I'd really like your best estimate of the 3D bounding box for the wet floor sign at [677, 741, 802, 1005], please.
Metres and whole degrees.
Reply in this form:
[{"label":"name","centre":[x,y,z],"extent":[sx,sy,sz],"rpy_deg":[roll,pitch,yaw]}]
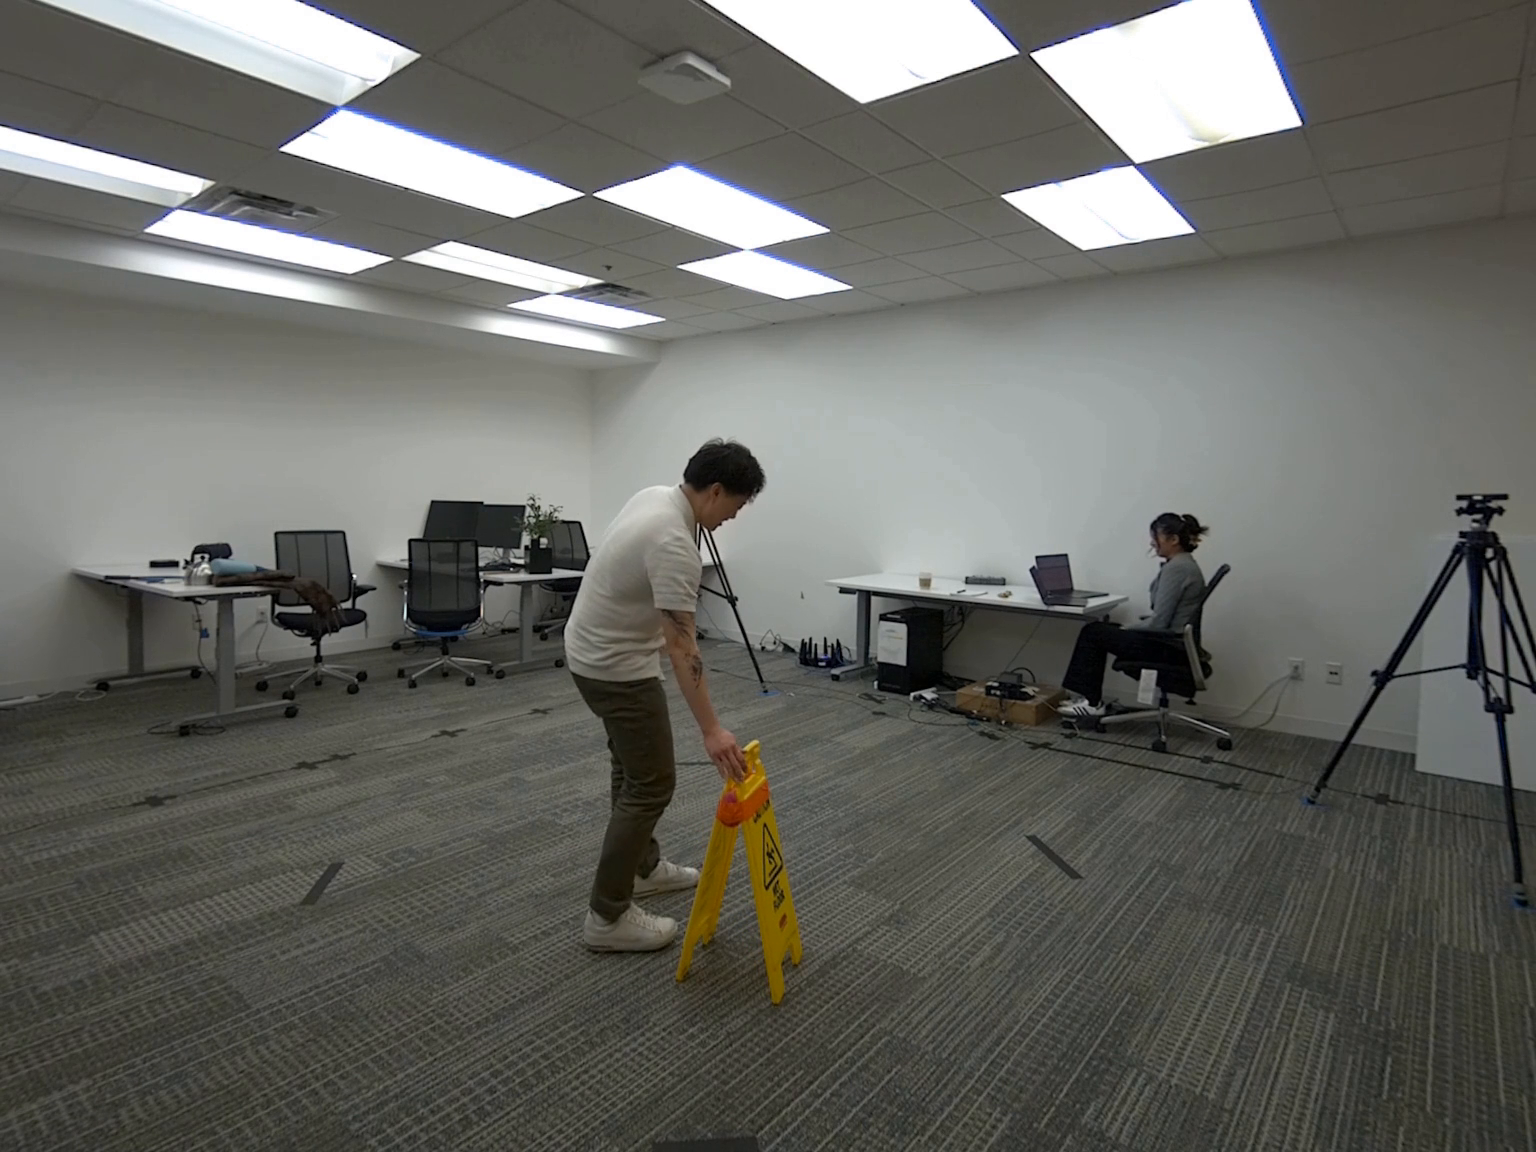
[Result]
[{"label":"wet floor sign","centre":[-0.074,0.811,2.446],"extent":[0.296,0.644,0.277],"rpy_deg":[2,4,19]}]
